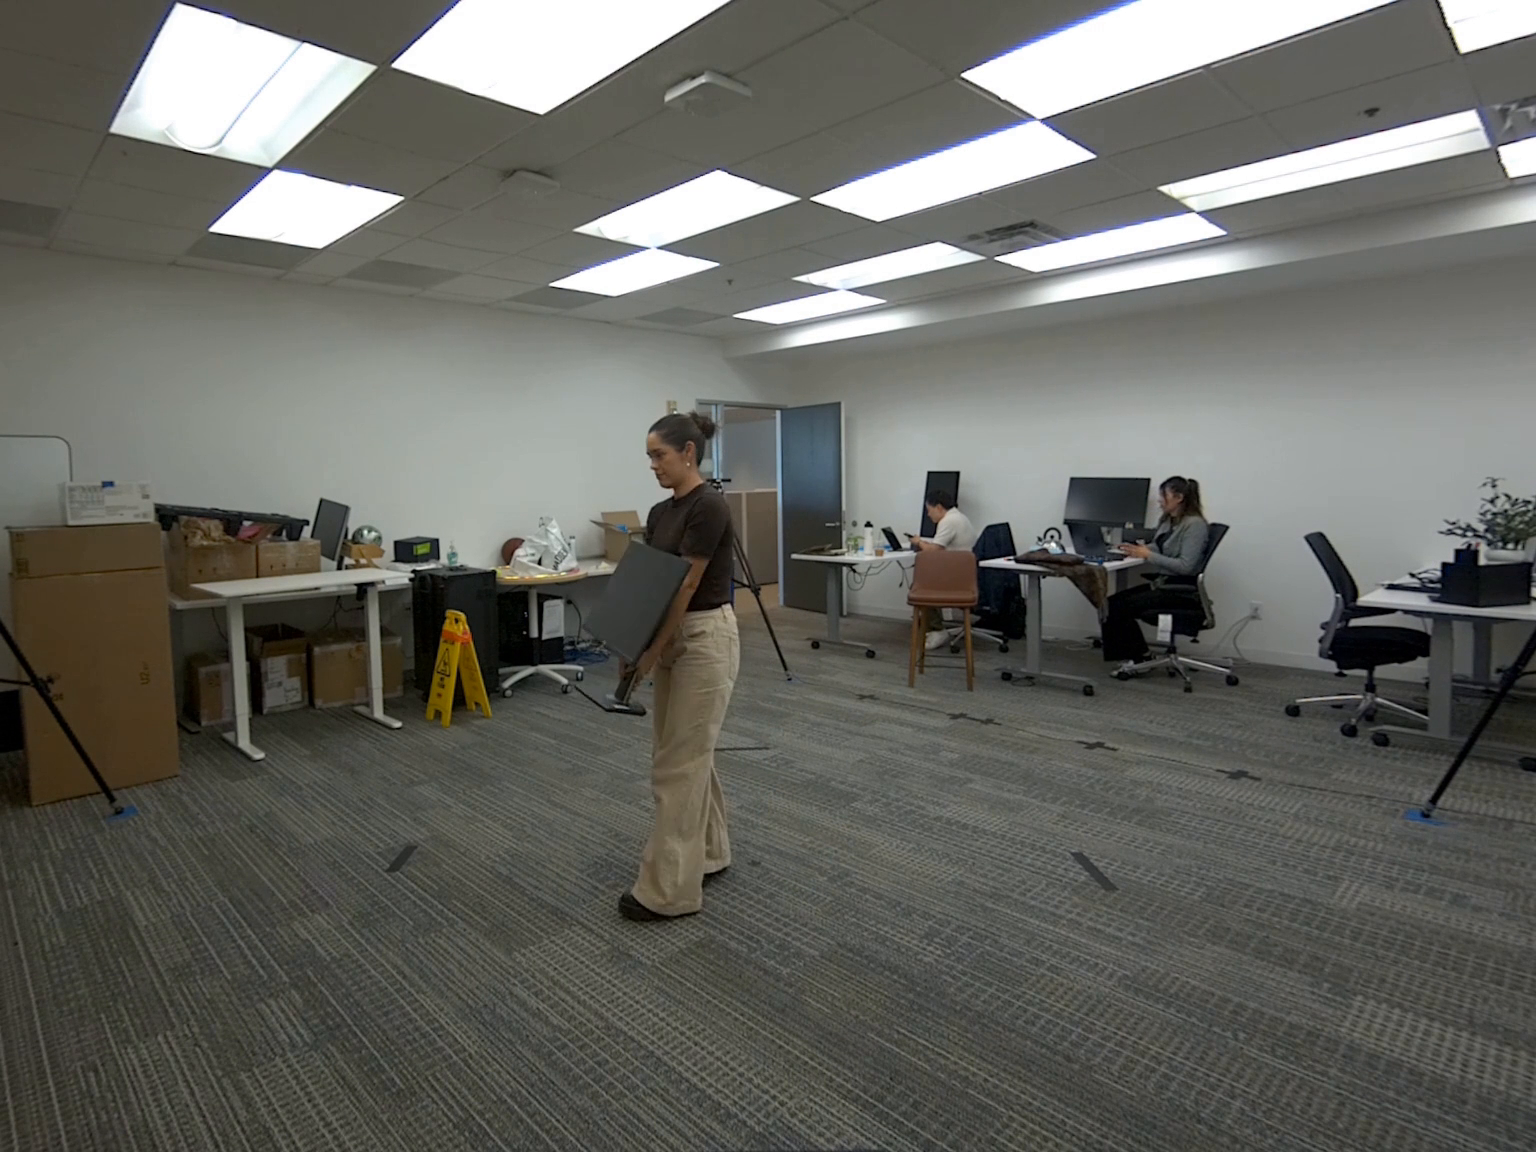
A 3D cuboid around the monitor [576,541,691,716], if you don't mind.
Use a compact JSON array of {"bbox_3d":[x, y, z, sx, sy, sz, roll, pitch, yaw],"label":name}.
[{"bbox_3d":[-0.444,0.165,2.753,0.182,0.522,0.554,16,1,-27],"label":"monitor"}]
